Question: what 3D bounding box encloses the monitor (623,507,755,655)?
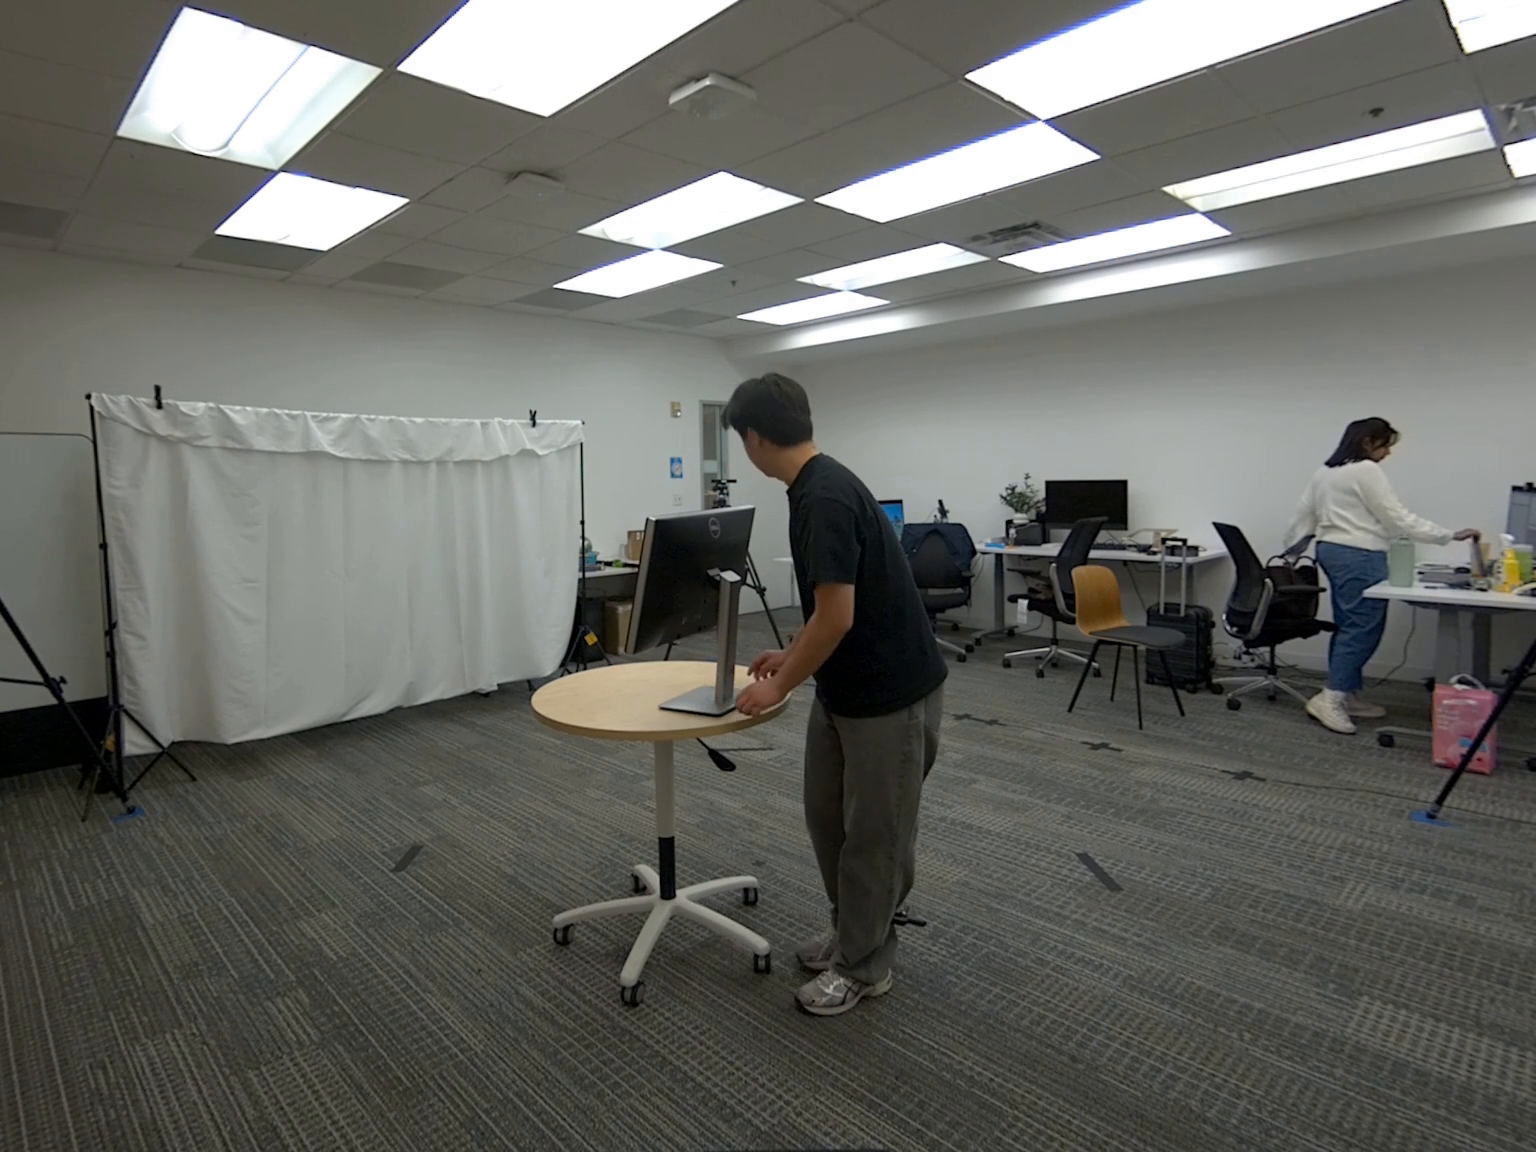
[{"bbox_3d":[-0.165,0.096,2.387,0.228,0.564,0.550,-1,5,30],"label":"monitor"}]
